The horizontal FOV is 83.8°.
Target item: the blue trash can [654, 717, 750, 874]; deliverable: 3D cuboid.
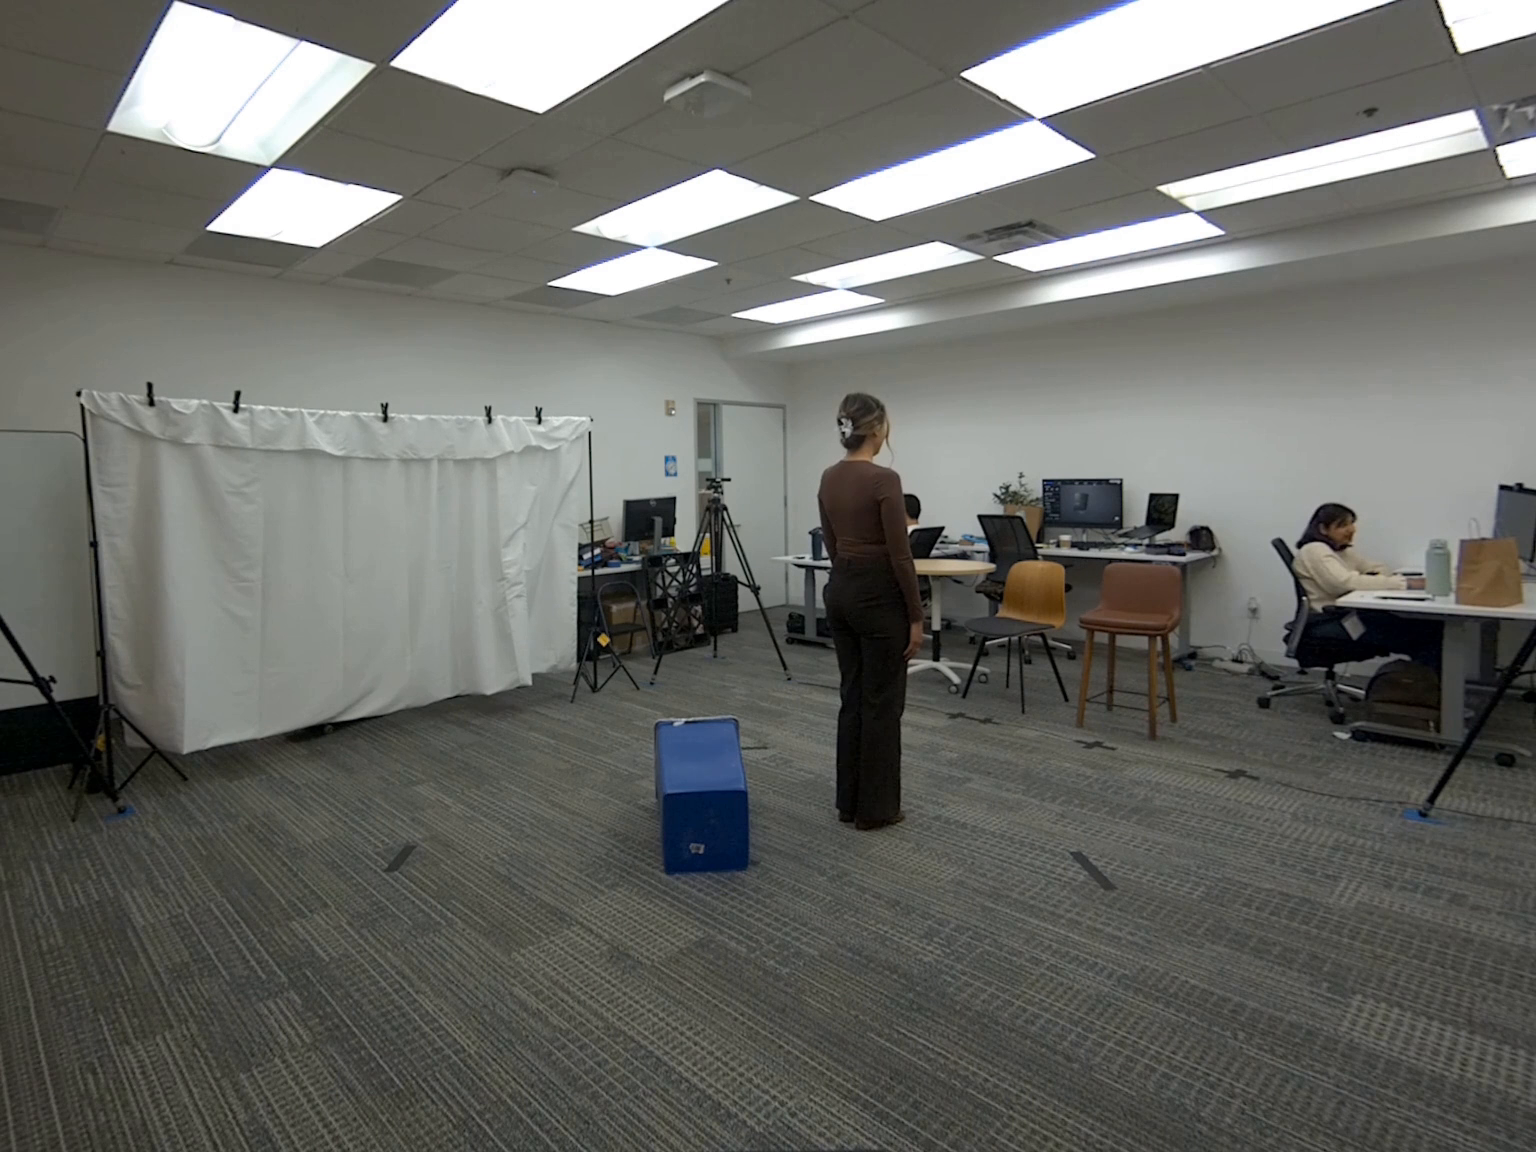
[{"bbox_3d":[-0.260,0.854,3.370,0.371,0.375,0.723,-1,8,-8],"label":"blue trash can"}]
